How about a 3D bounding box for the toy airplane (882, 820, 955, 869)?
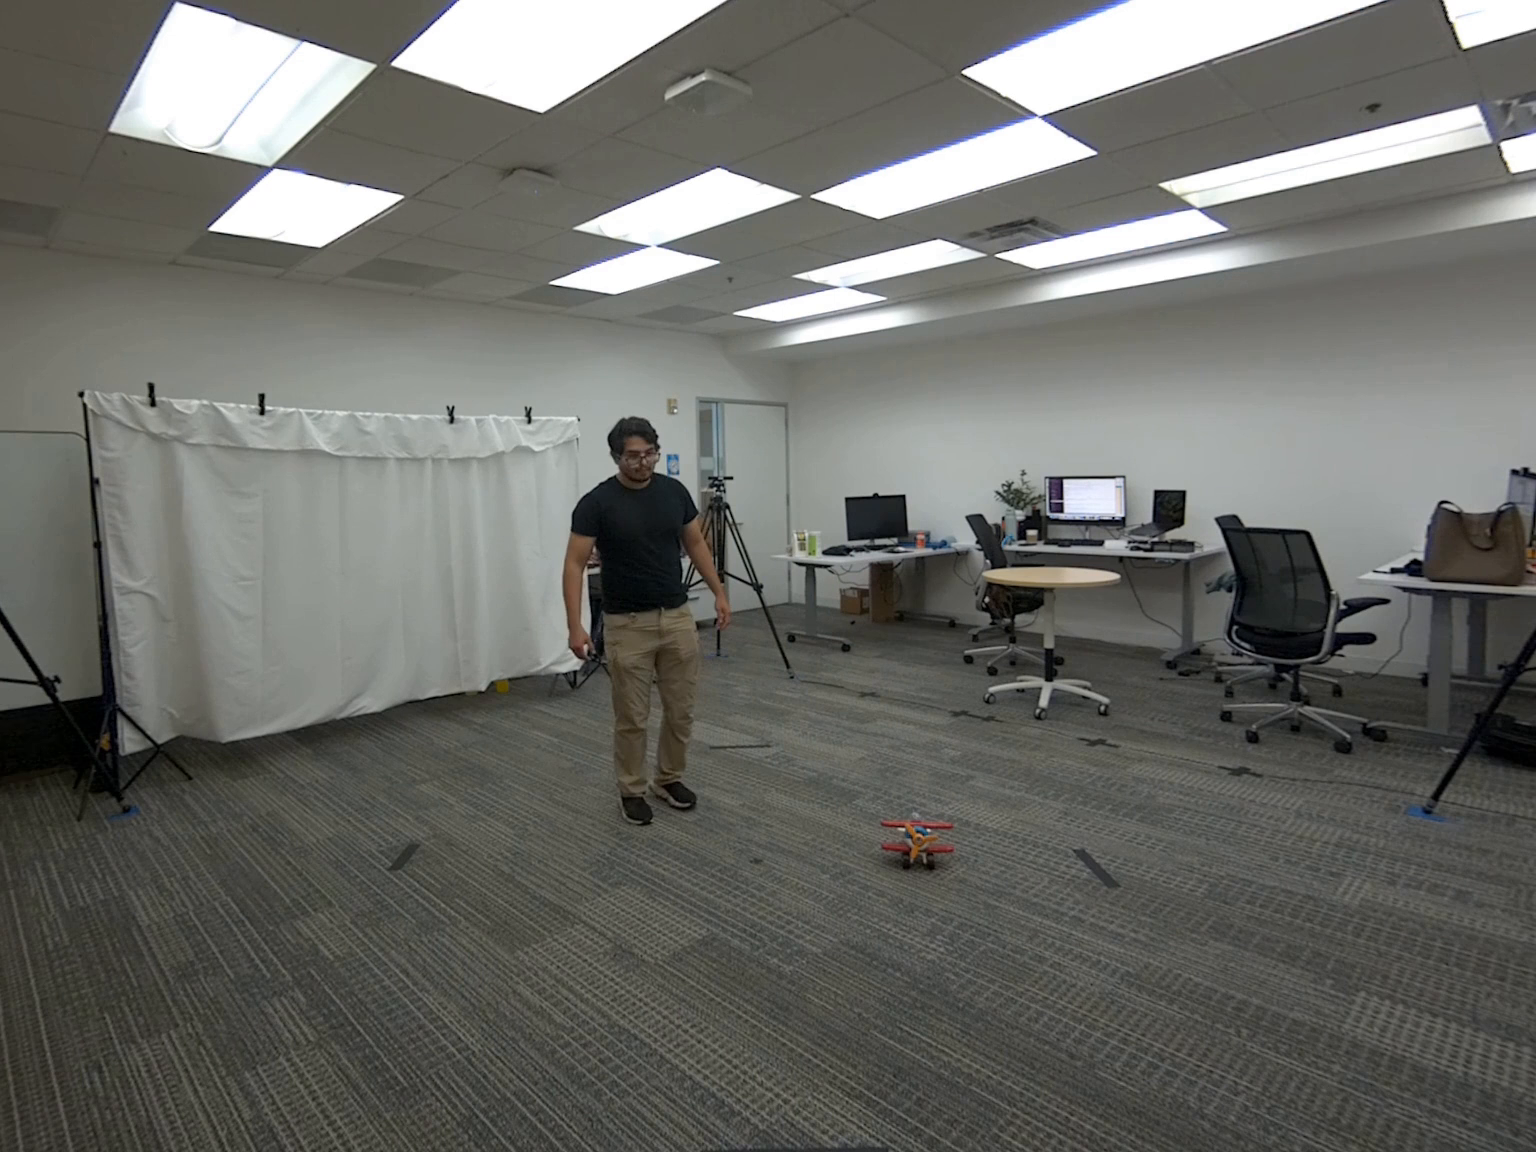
[{"bbox_3d":[0.522,0.951,3.102,0.246,0.155,0.266,-3,8,-22],"label":"toy airplane"}]
